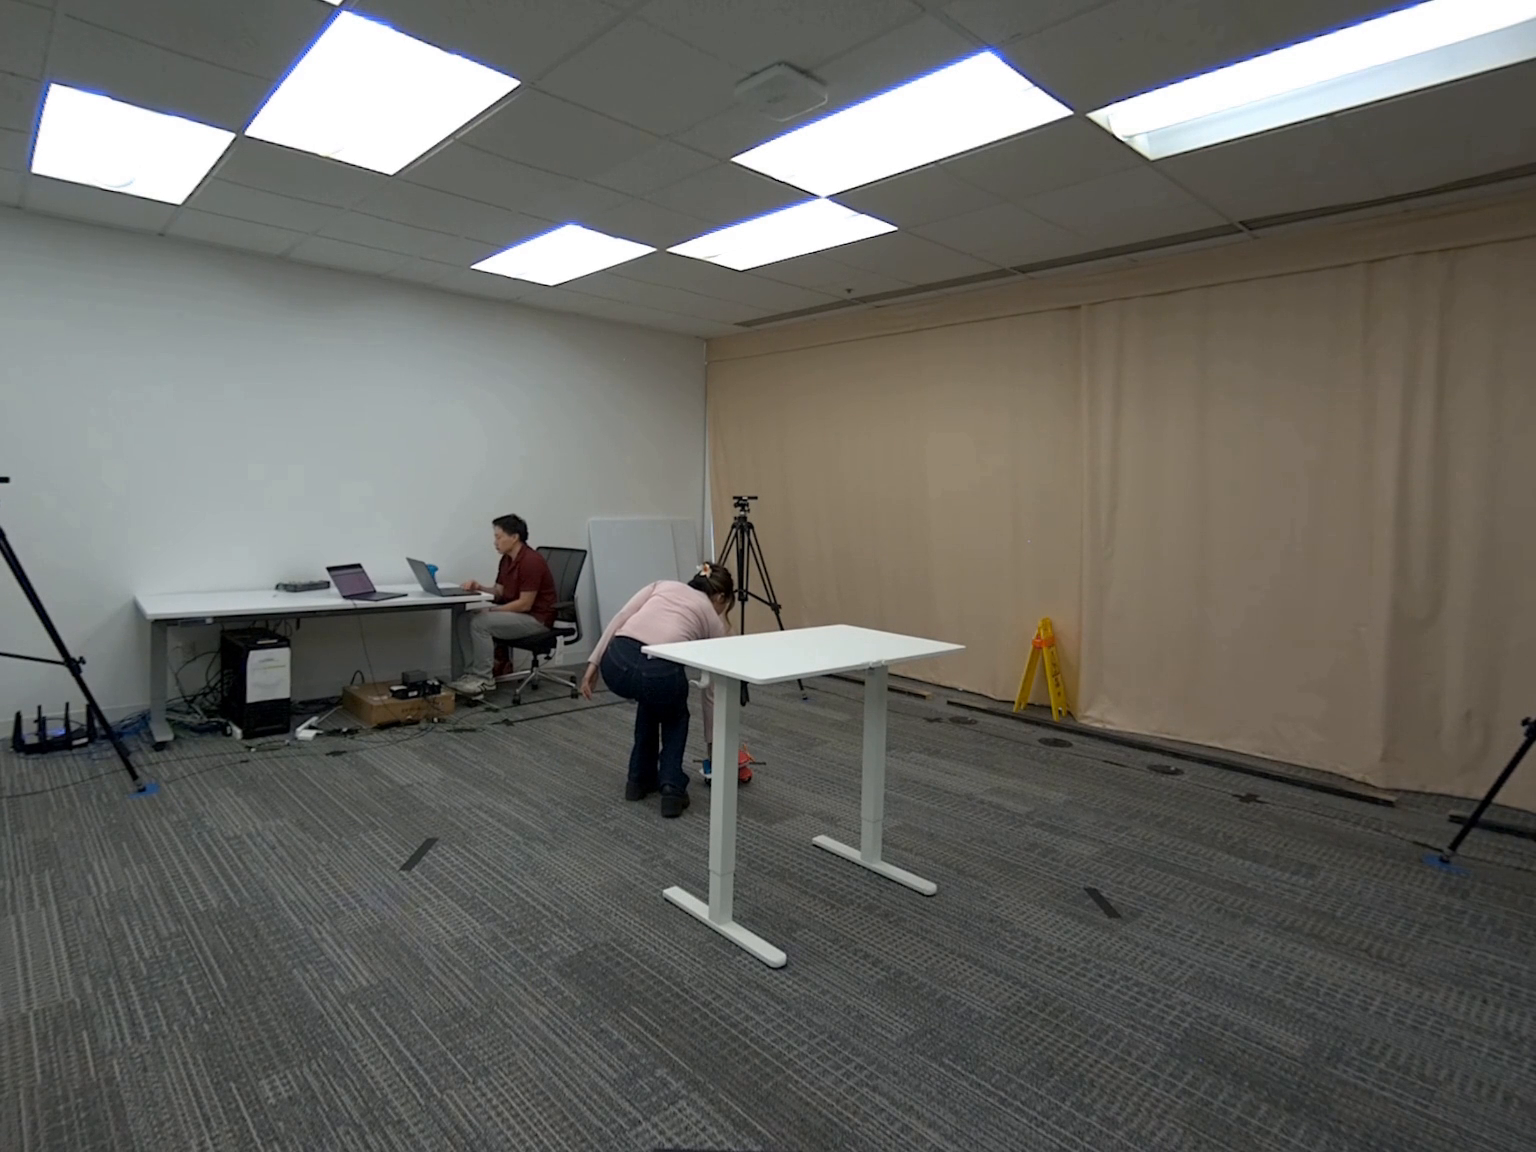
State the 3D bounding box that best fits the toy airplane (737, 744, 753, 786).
[{"bbox_3d":[-0.204,0.942,4.121,0.257,0.156,0.254,4,3,32],"label":"toy airplane"}]
